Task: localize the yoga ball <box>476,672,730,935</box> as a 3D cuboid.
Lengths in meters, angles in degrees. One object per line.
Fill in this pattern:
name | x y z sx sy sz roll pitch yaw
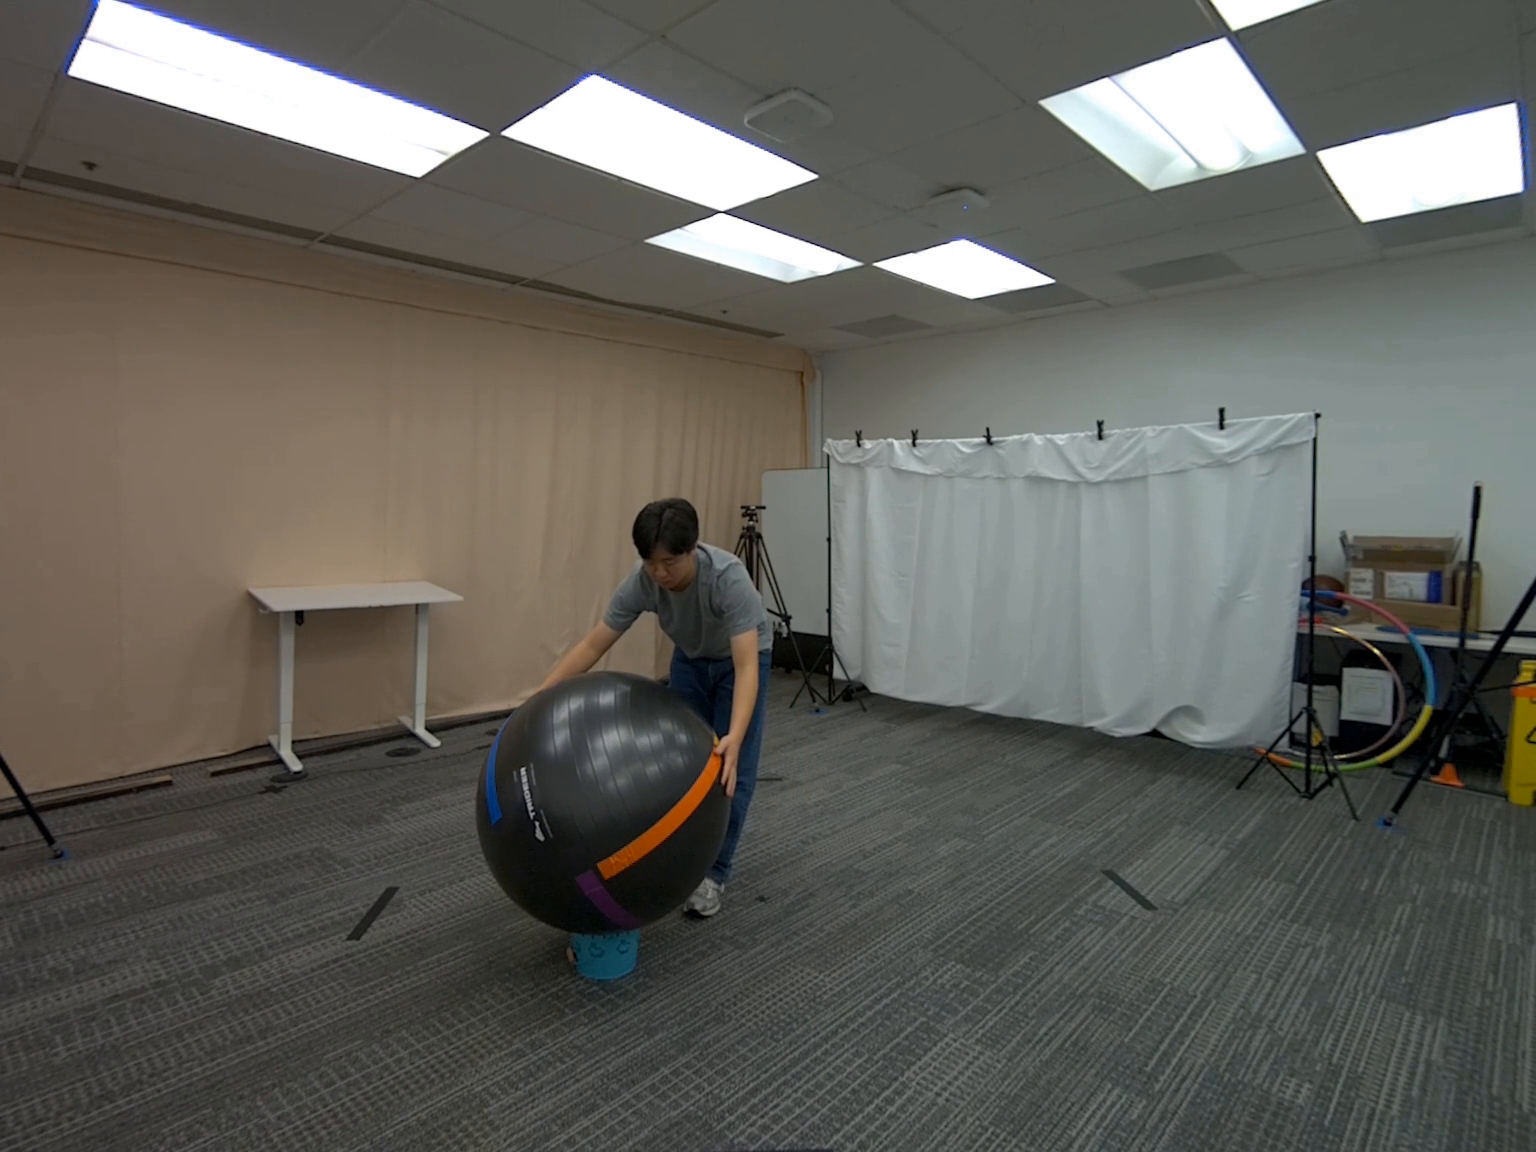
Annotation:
yoga ball | -0.499 0.677 2.546 0.757 0.756 0.760 0 4 -2
